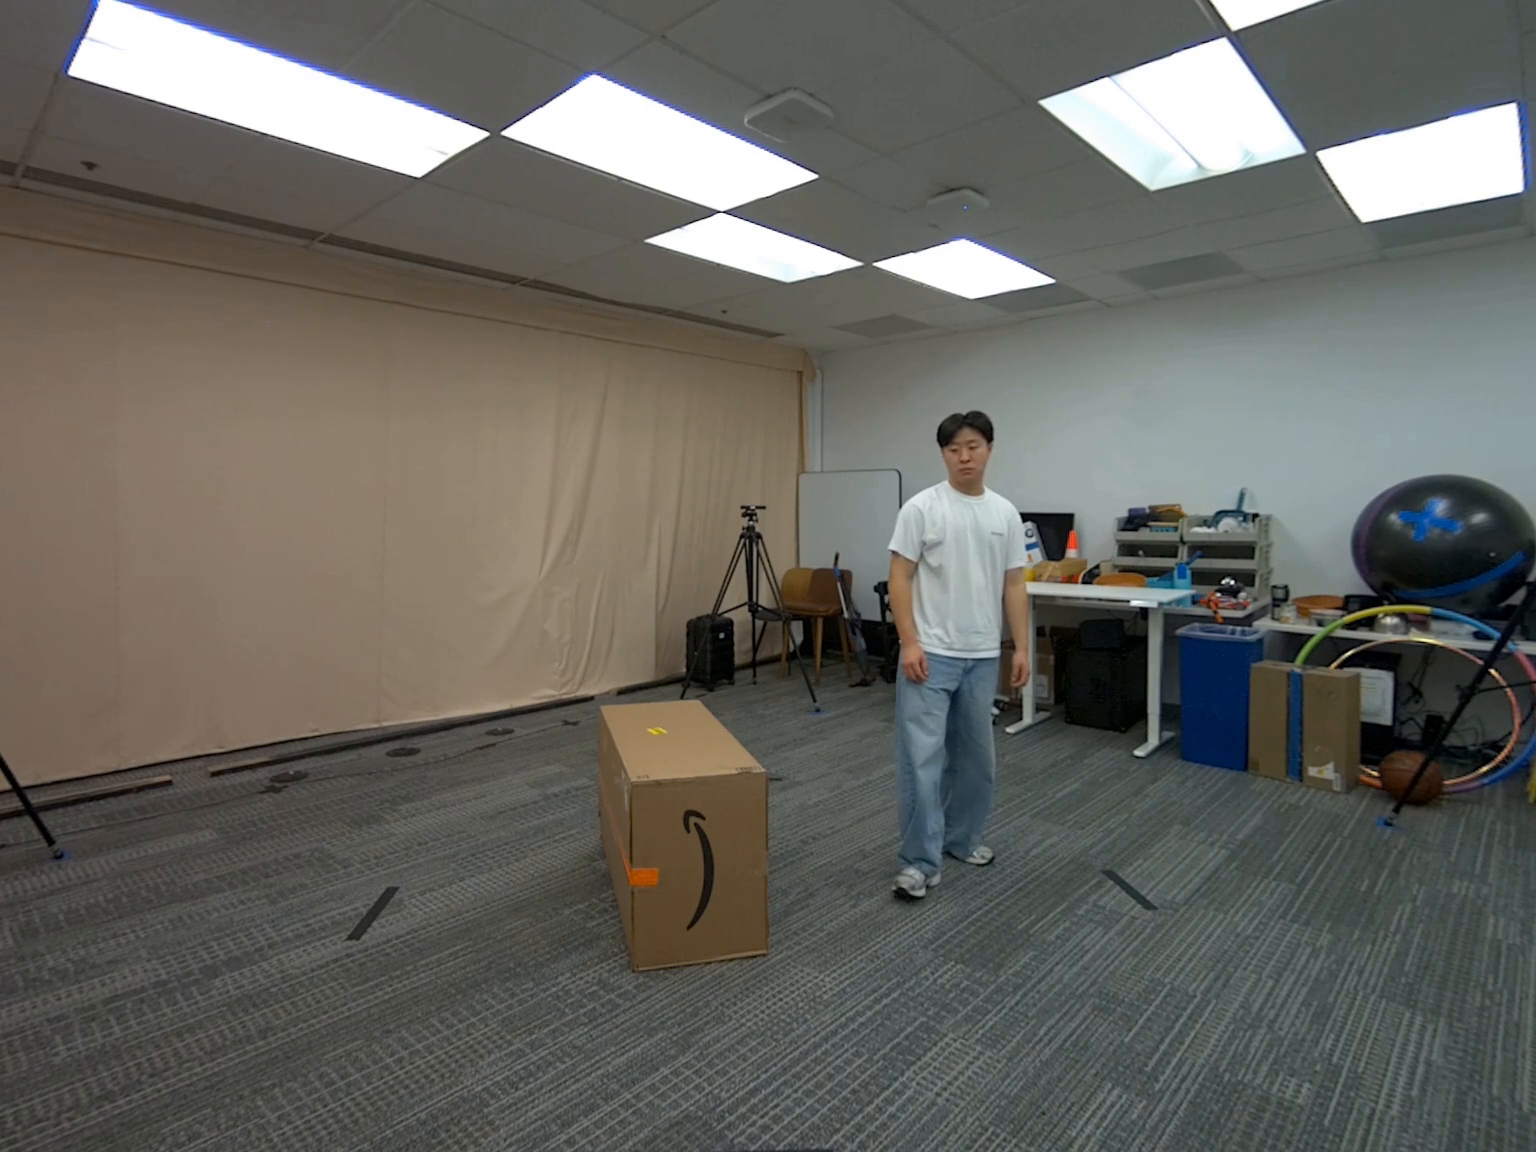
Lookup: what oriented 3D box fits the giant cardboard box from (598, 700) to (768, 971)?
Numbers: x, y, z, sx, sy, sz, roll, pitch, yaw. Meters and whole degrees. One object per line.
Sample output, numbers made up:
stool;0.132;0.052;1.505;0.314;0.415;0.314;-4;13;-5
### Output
giant cardboard box;-0.348;0.852;3.039;0.420;0.576;1.044;-1;4;-16
